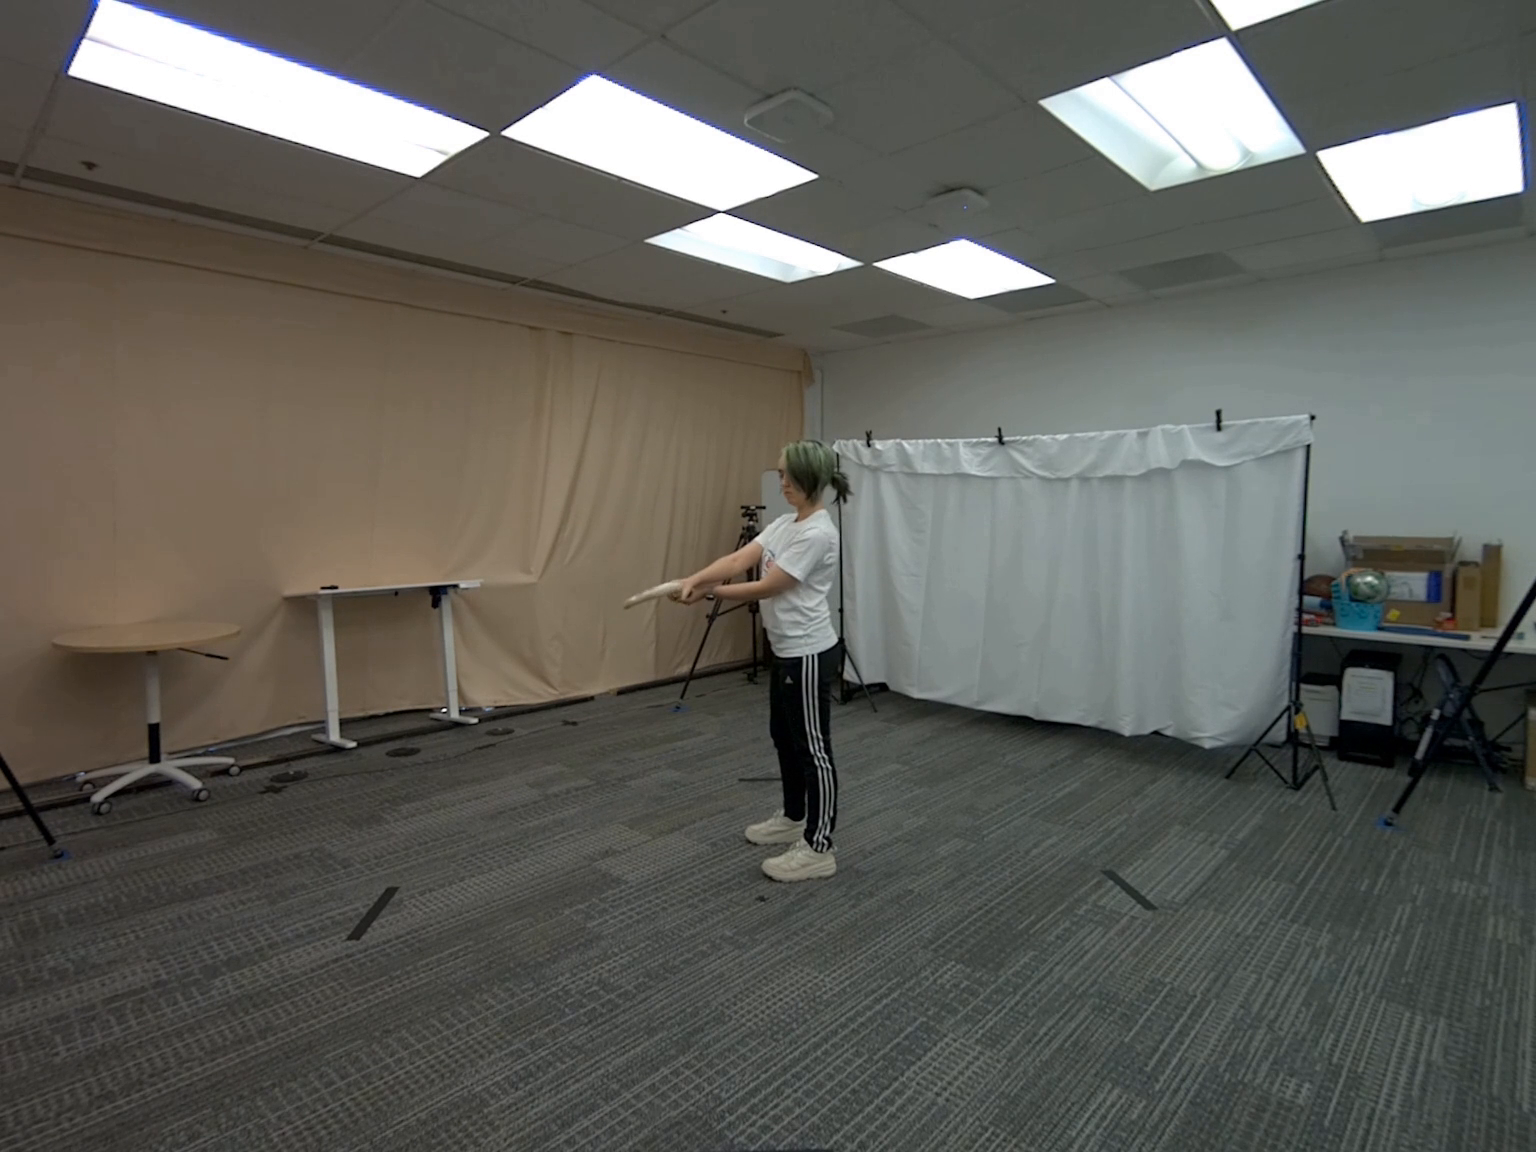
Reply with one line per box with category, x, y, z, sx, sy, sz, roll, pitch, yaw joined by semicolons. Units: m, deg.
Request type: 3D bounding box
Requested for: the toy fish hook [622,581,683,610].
toy fish hook;-0.379;0.076;3.015;0.226;0.049;0.499;-17;-7;6
